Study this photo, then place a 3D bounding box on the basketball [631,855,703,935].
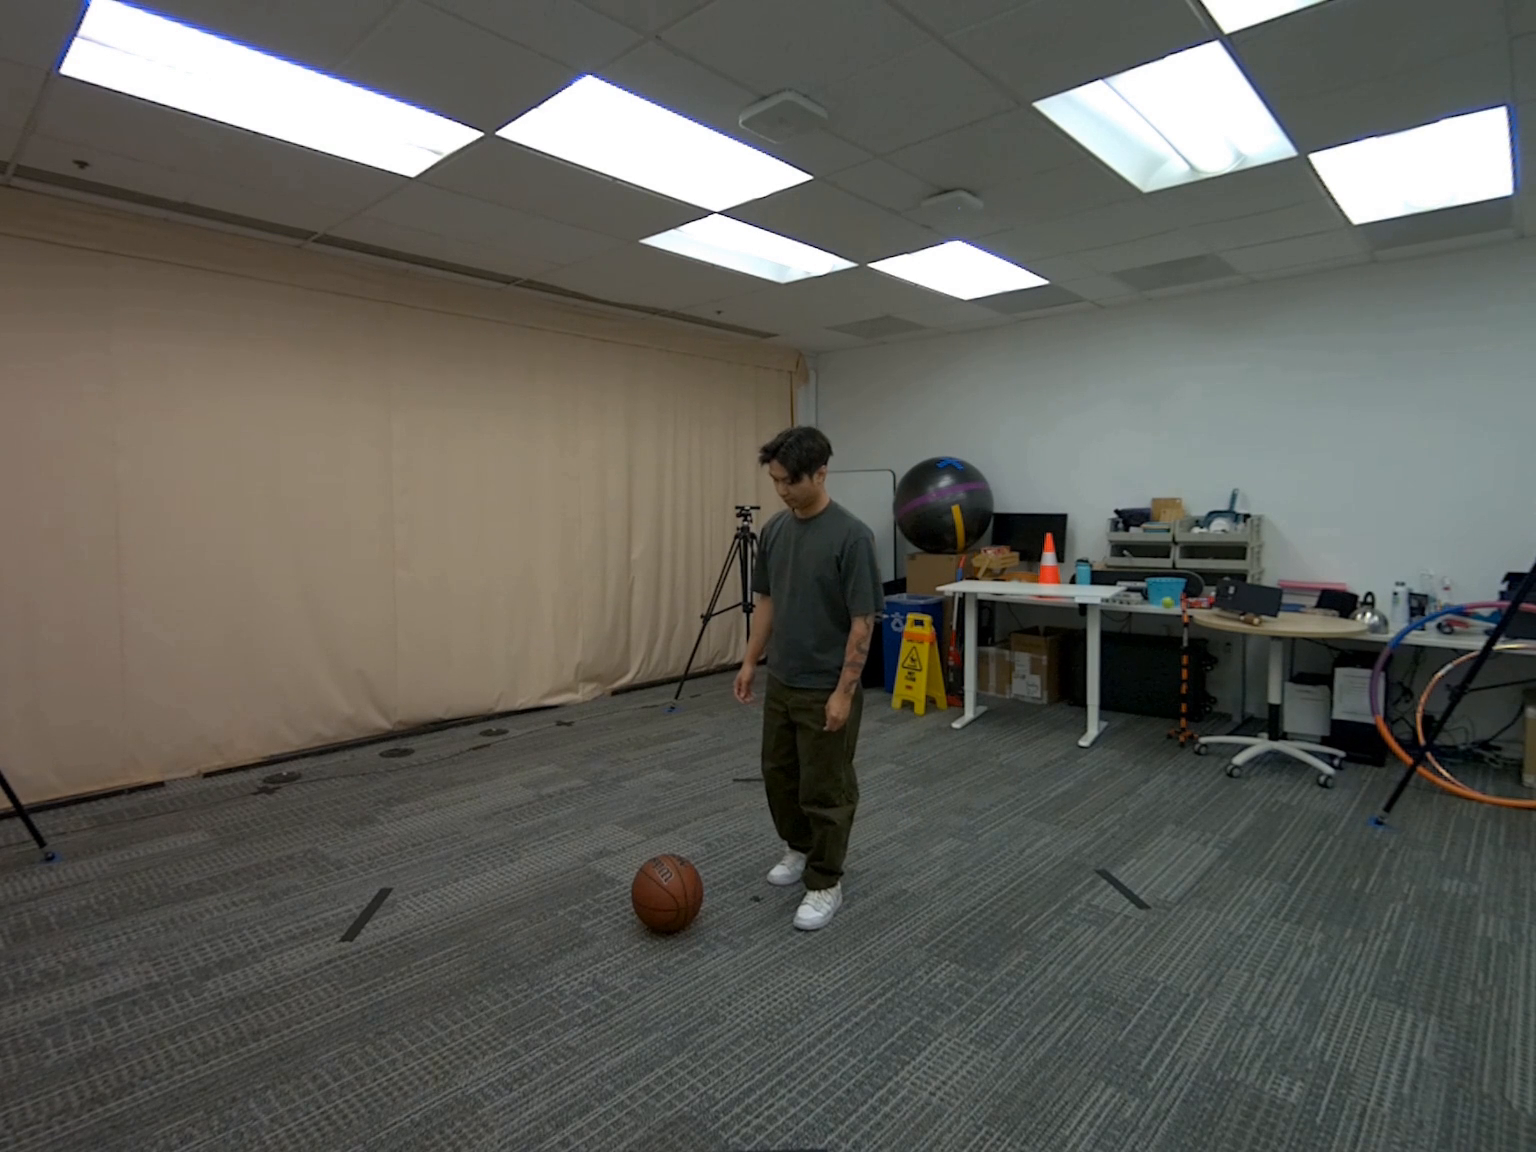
[{"bbox_3d":[-0.327,1.042,2.775,0.236,0.235,0.237,0,4,-2],"label":"basketball"}]
